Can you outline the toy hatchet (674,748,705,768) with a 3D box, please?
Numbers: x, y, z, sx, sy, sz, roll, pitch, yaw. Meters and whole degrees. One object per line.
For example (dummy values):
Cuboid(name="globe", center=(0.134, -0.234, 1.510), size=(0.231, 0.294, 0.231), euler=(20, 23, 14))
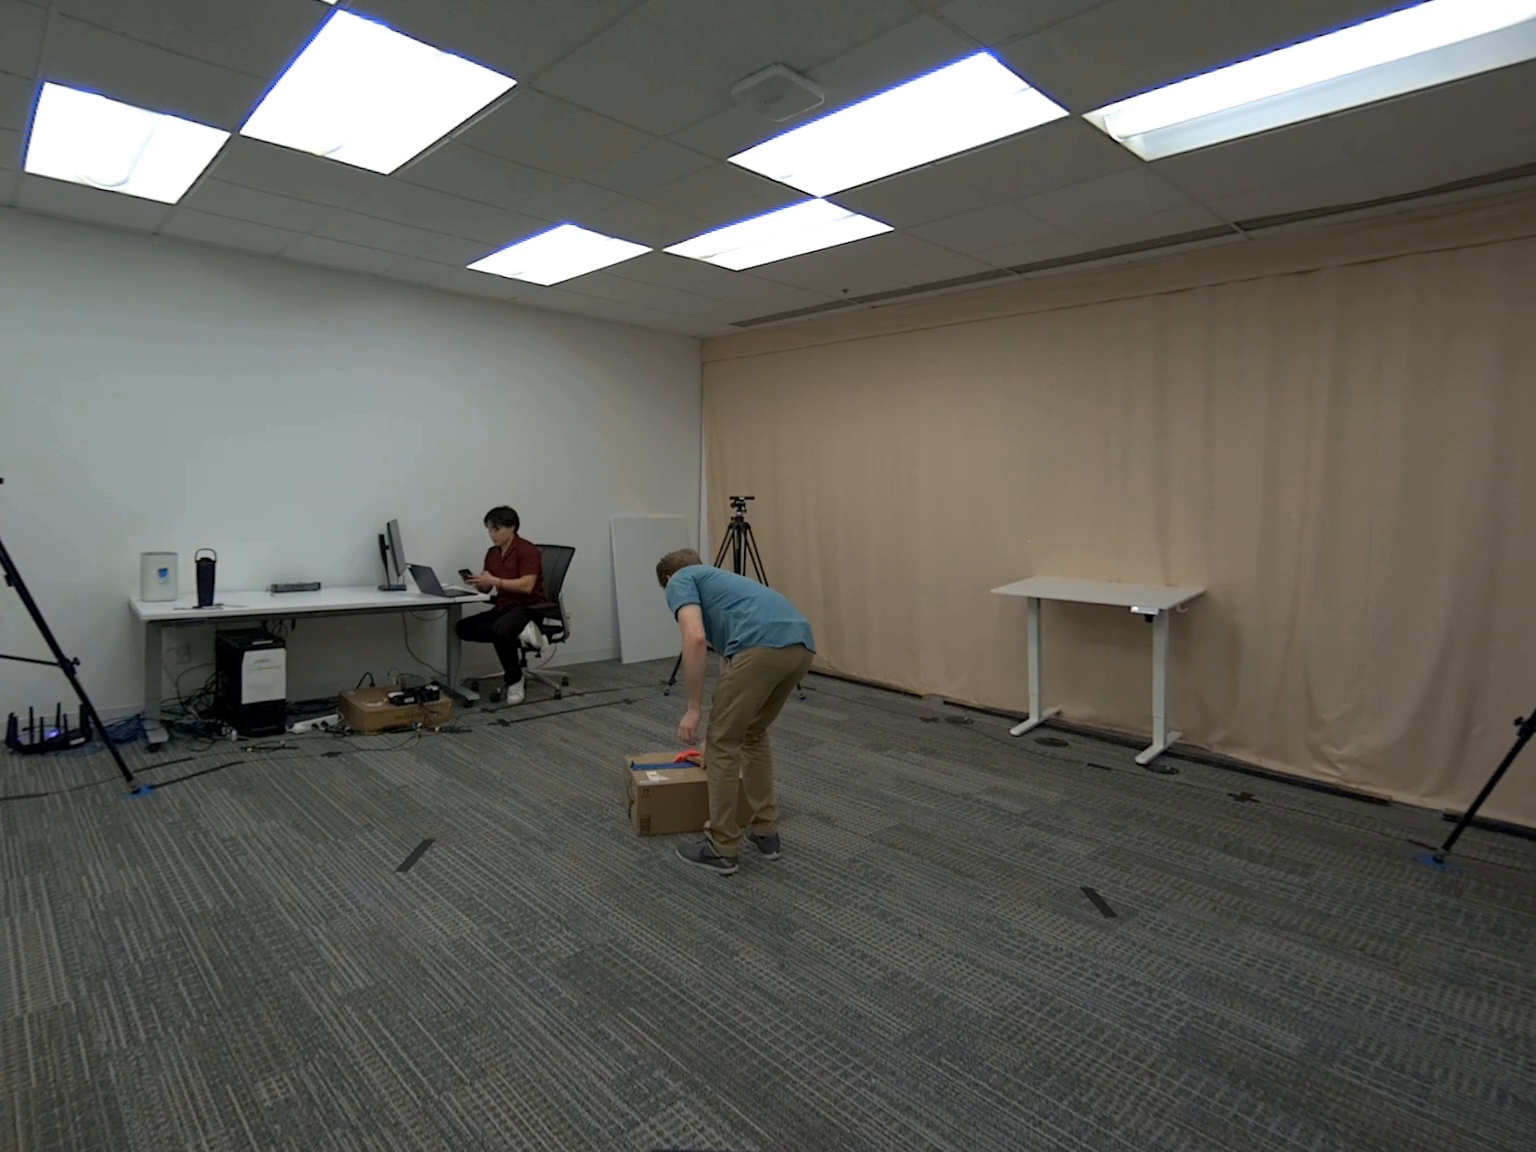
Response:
Cuboid(name="toy hatchet", center=(-0.284, 0.805, 3.695), size=(0.275, 0.029, 0.130), euler=(5, 15, 21))
